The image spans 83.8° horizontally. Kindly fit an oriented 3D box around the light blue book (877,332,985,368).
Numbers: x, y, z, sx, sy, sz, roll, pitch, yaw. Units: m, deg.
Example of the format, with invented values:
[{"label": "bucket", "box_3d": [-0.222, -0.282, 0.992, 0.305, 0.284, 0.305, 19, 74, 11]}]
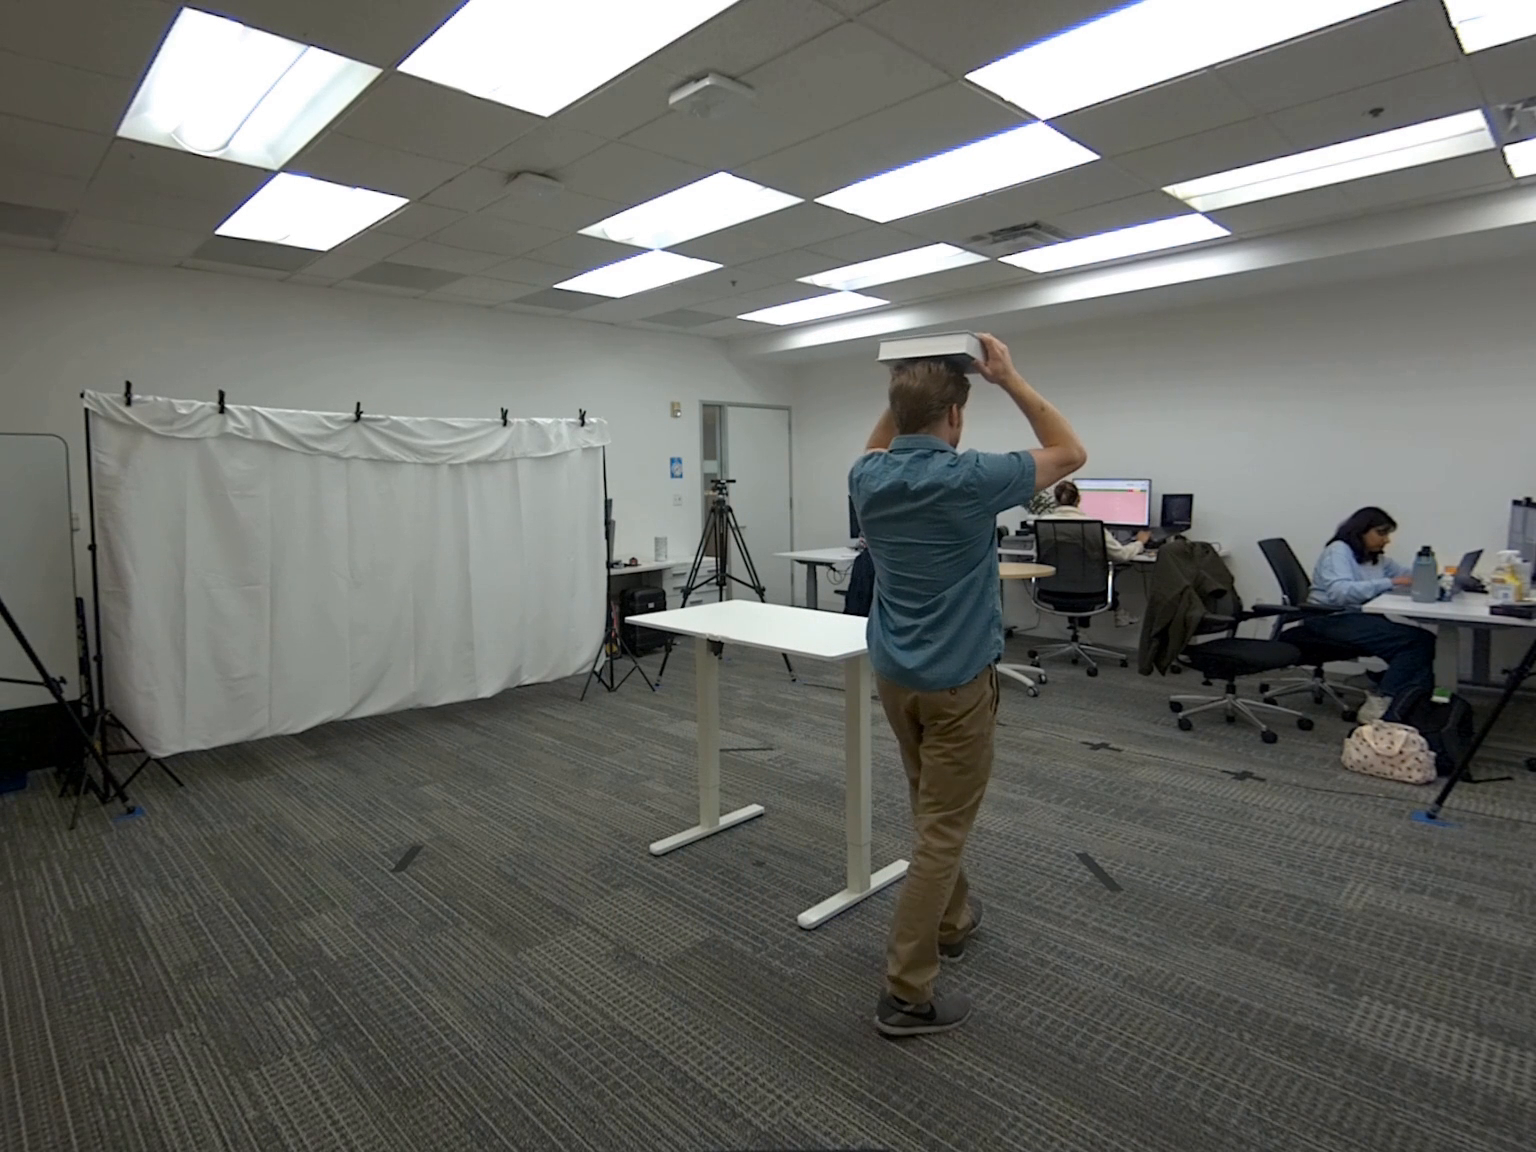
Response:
[{"label": "light blue book", "box_3d": [0.457, -0.576, 2.231, 0.269, 0.059, 0.185, 8, -1, 35]}]
